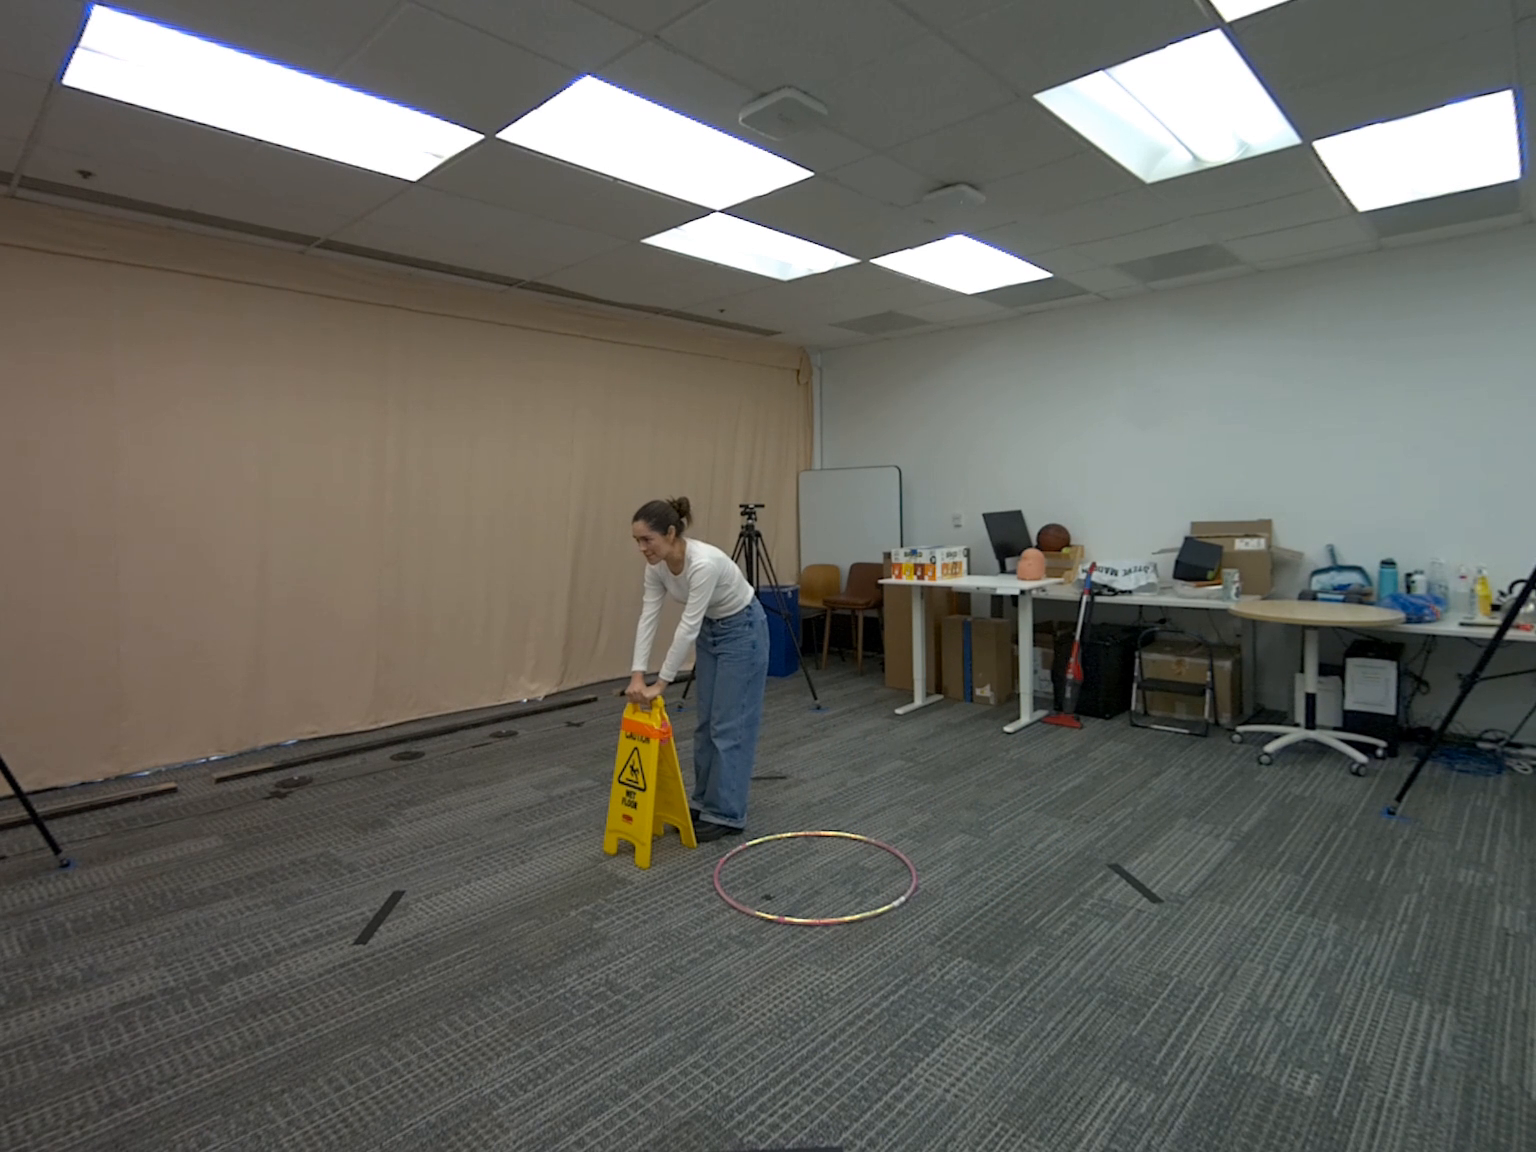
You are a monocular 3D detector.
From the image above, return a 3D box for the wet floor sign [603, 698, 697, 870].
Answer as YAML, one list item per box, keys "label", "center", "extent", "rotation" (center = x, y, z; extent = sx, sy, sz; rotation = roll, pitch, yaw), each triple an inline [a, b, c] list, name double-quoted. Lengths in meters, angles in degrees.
- label: "wet floor sign"
  center: [-0.490, 0.792, 3.408]
  extent: [0.291, 0.645, 0.281]
  rotation: [0, 4, 43]
